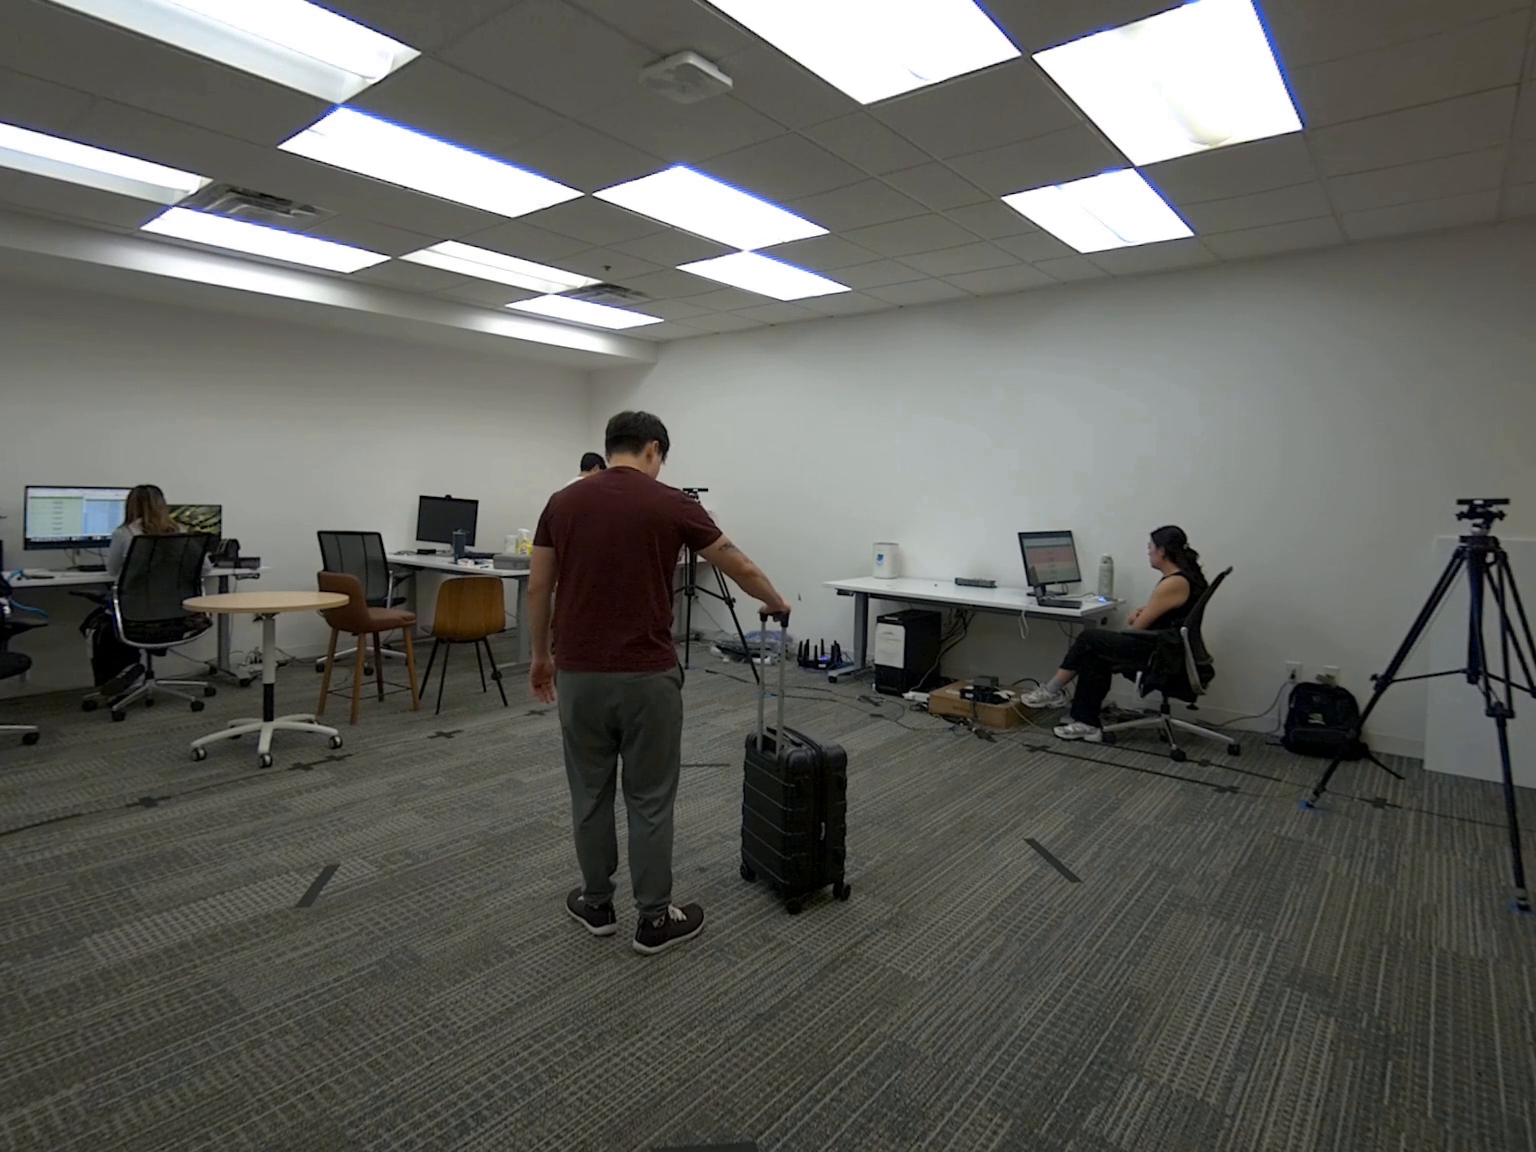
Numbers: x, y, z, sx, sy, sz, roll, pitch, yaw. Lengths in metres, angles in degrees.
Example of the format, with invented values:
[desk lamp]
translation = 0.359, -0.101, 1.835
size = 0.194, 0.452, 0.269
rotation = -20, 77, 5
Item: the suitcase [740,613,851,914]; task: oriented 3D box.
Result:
[suitcase]
translation = 0.088, 0.611, 2.966
size = 0.250, 0.977, 0.395
rotation = 2, 2, -27
